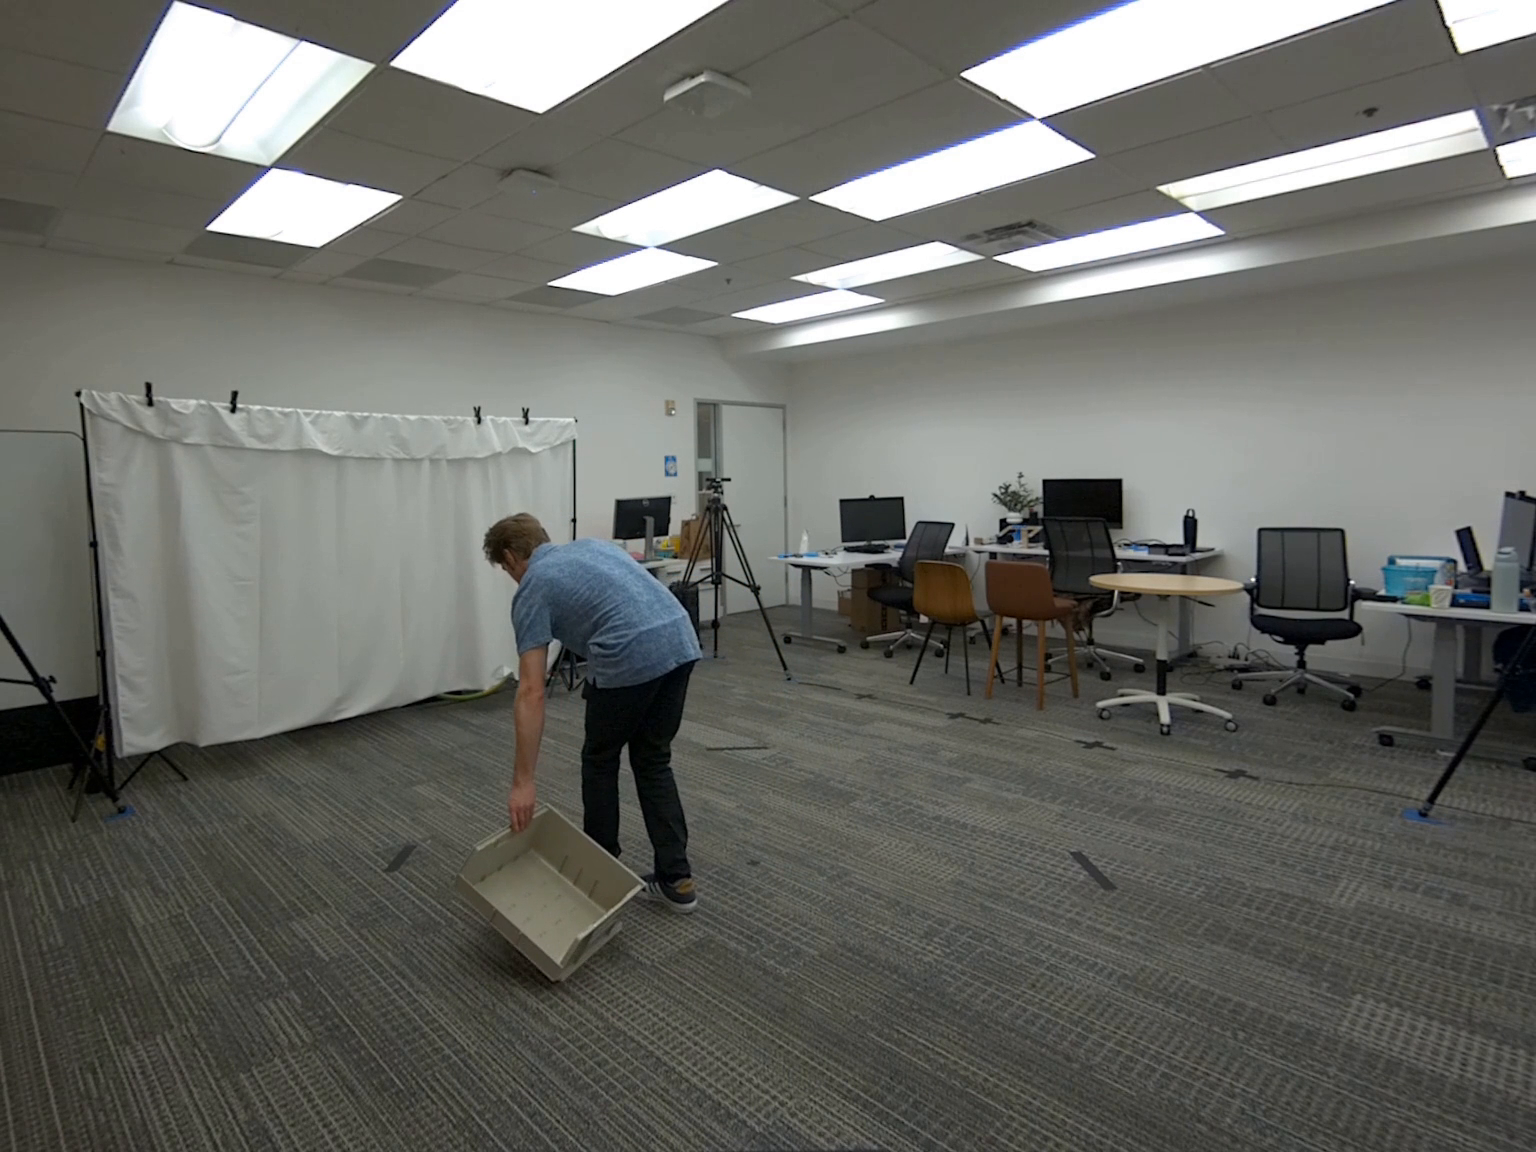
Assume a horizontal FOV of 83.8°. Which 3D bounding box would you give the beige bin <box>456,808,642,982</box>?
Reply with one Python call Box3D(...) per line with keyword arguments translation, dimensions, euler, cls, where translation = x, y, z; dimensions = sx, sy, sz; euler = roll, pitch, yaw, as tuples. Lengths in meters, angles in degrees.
Box3D(translation=(-0.652, 0.933, 2.558), dimensions=(0.433, 0.188, 0.370), euler=(27, 15, 20), cls="beige bin")
